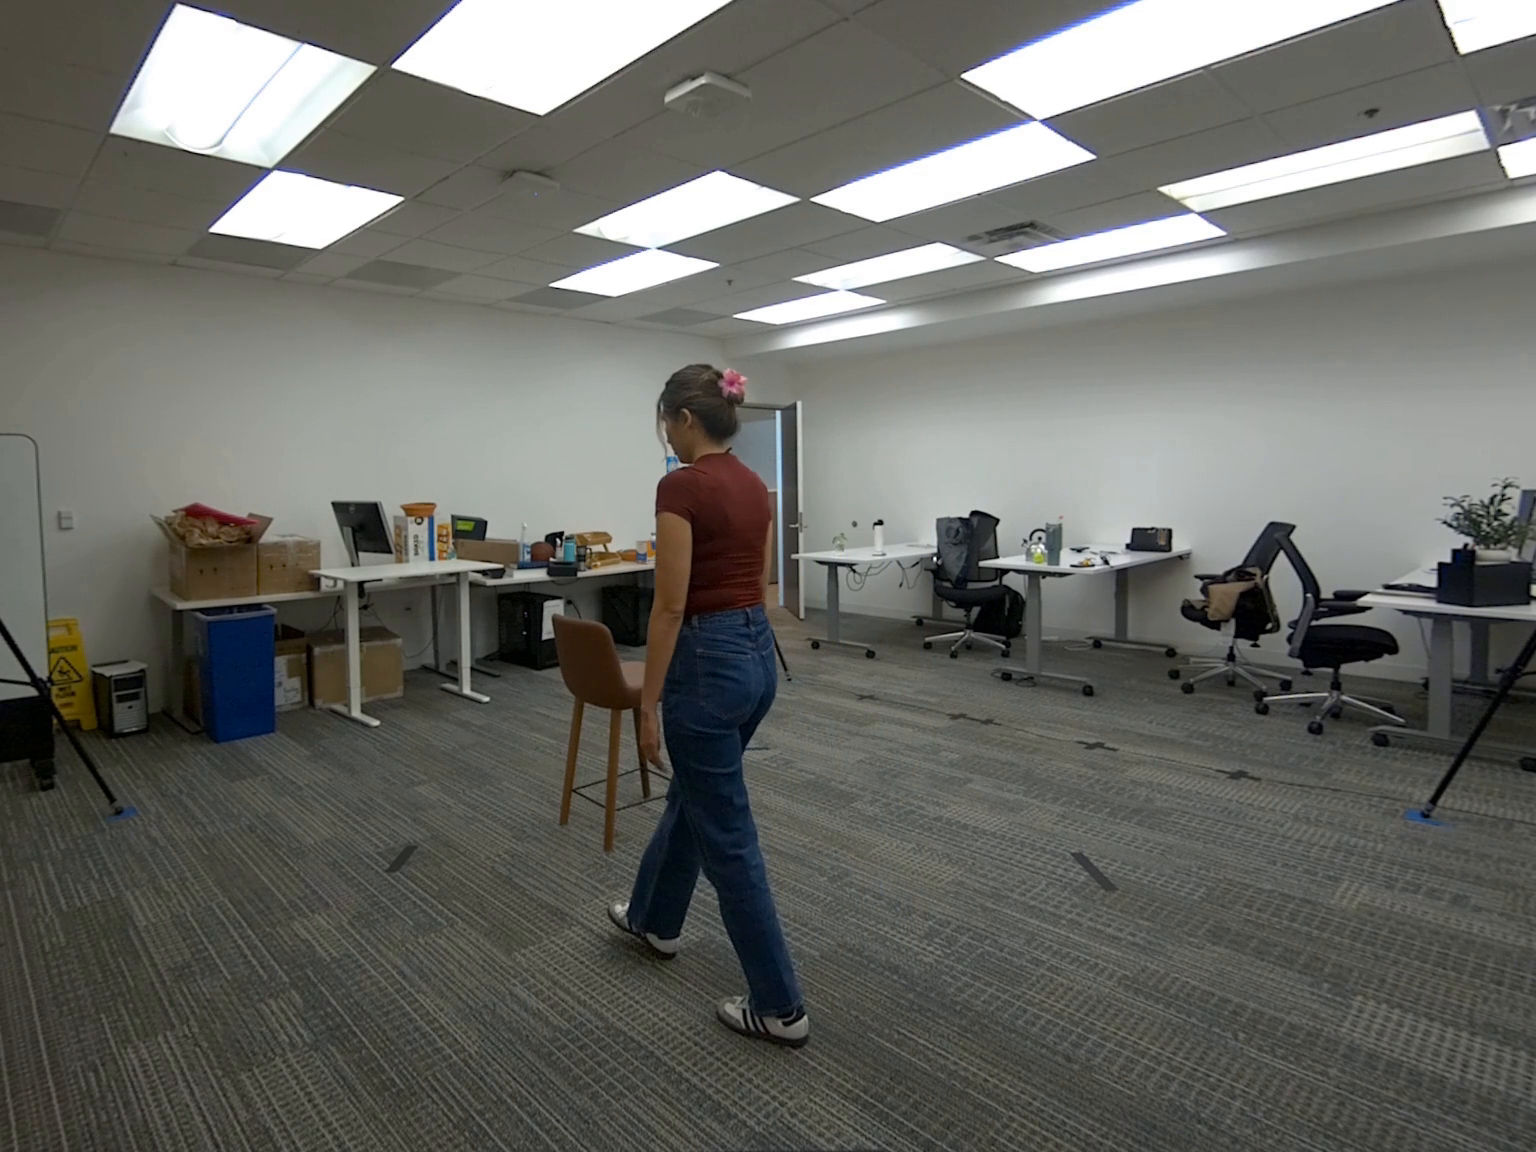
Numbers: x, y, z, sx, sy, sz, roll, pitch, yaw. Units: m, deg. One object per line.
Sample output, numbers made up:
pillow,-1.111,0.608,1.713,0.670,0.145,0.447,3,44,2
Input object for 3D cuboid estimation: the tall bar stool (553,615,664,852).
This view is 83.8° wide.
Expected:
tall bar stool,-0.586,0.578,3.478,0.456,0.886,0.470,-6,6,-40
